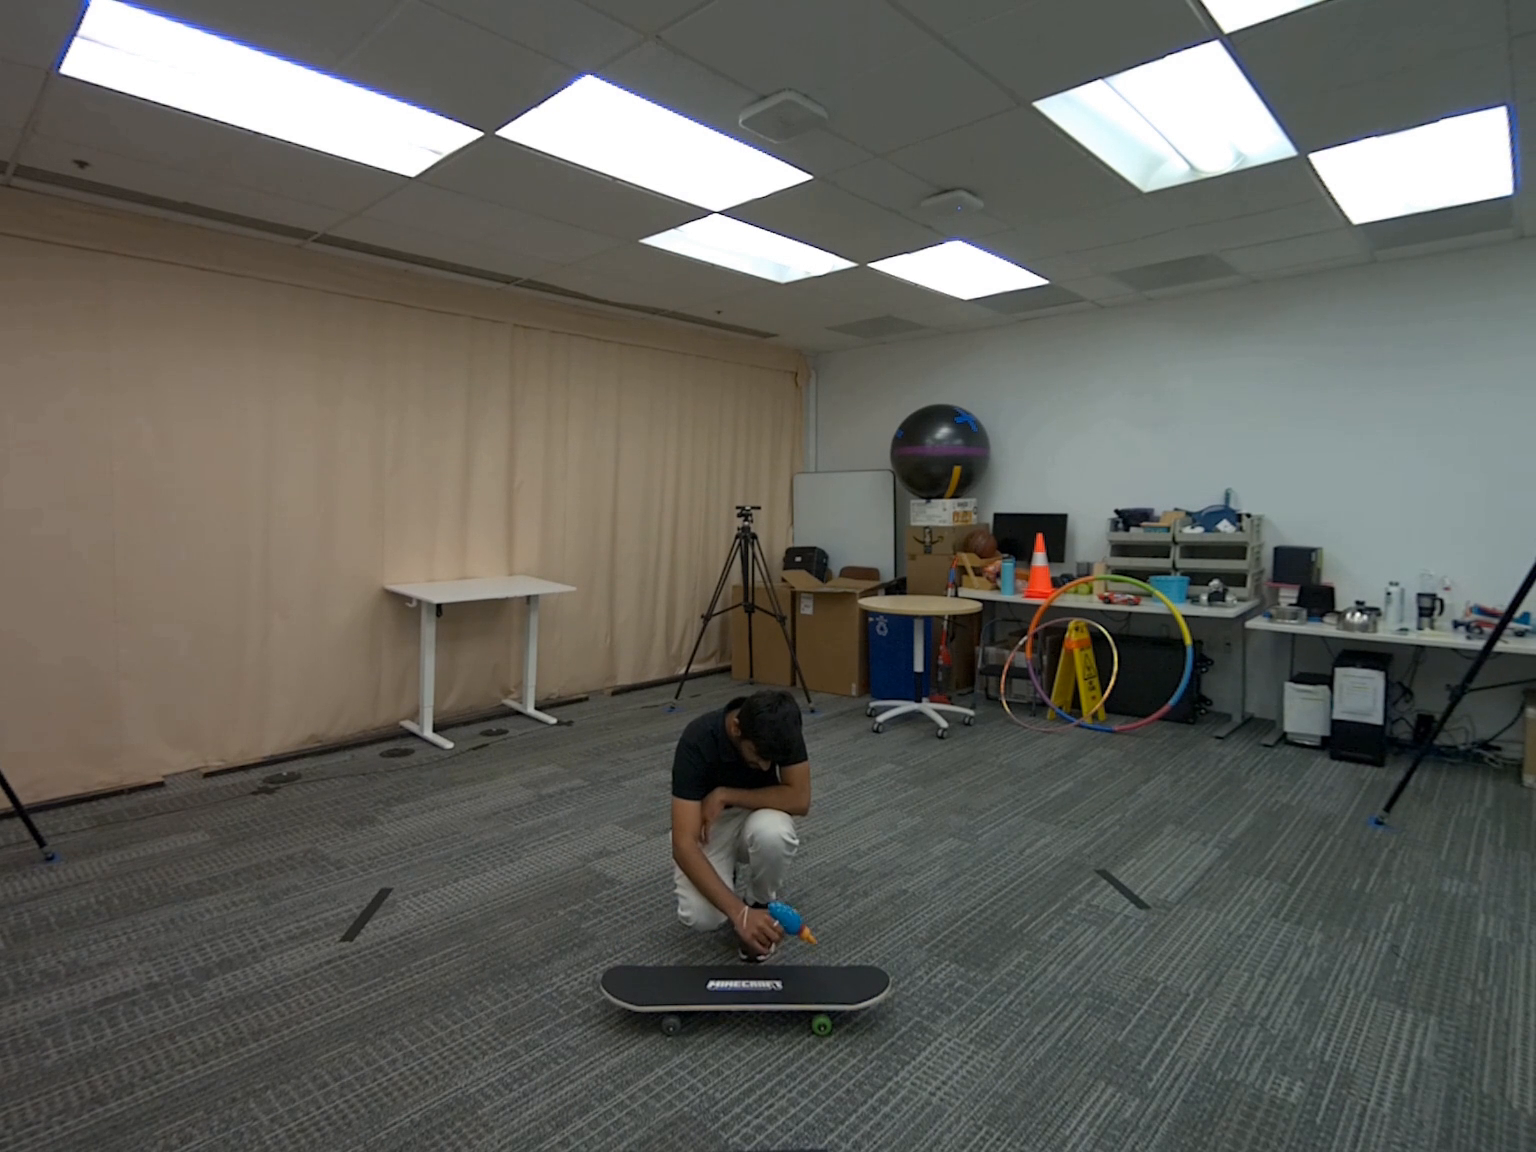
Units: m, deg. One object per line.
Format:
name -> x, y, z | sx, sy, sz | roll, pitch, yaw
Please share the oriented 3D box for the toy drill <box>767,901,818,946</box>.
toy drill -> 0.040, 0.973, 2.285 | 0.170, 0.146, 0.061 | 44, -1, 1
